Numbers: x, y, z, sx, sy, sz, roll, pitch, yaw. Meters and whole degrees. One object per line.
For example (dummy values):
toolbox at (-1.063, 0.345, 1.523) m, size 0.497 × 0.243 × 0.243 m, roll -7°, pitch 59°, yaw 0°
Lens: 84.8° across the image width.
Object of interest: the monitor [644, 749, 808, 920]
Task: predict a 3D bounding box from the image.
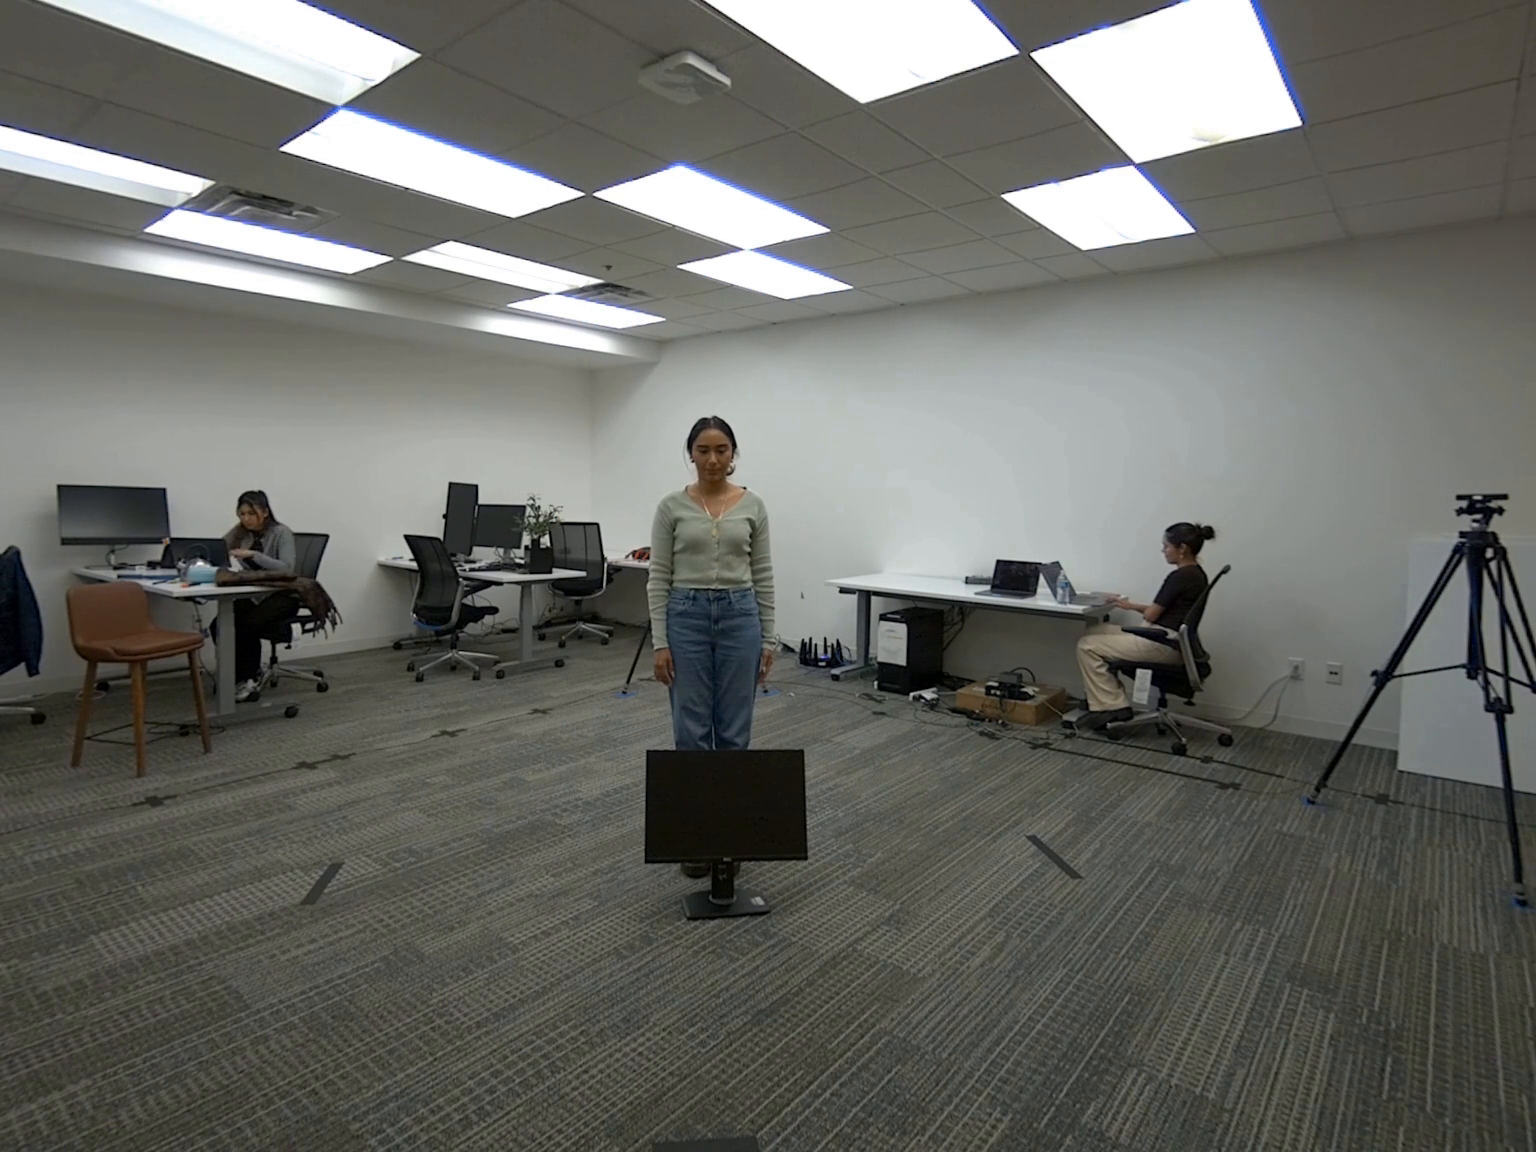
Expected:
monitor at (-0.150, 0.836, 2.832) m, size 0.525 × 0.514 × 0.177 m, roll 1°, pitch 3°, yaw -9°
